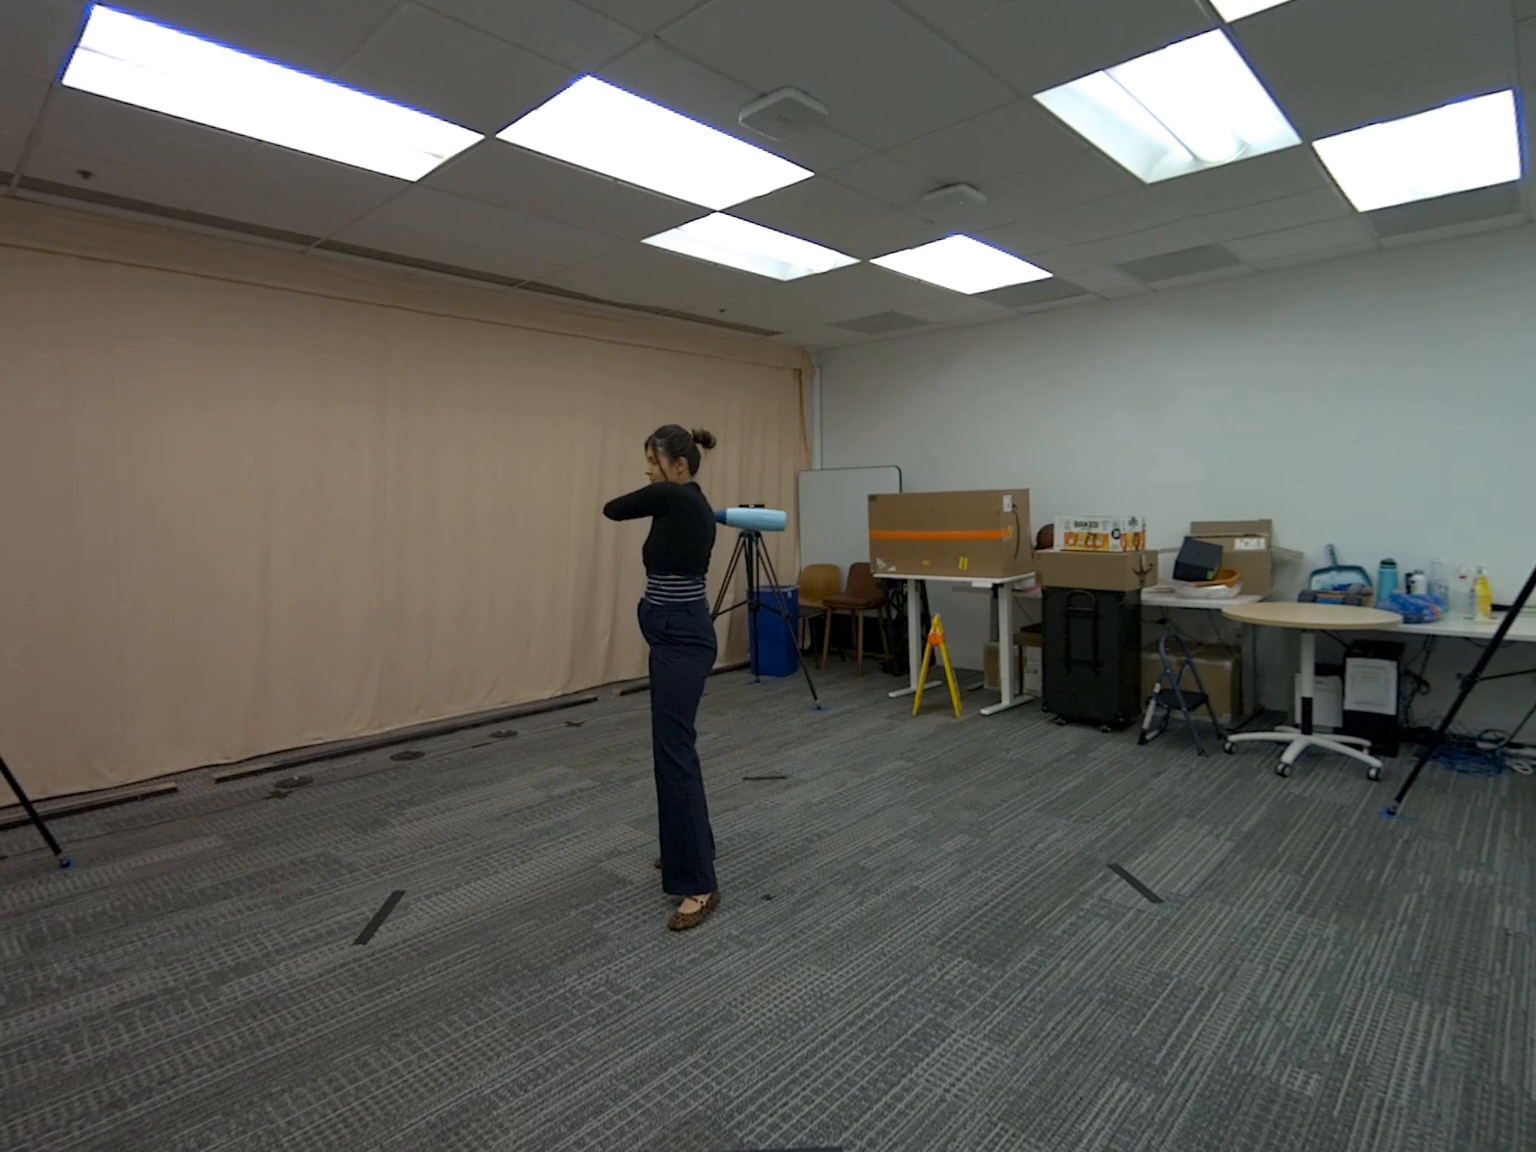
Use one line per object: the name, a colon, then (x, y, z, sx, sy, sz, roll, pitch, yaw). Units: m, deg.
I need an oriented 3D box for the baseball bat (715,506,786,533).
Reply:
baseball bat: (-0.238, -0.237, 3.461, 0.542, 0.089, 0.089, 4, 4, -1)
